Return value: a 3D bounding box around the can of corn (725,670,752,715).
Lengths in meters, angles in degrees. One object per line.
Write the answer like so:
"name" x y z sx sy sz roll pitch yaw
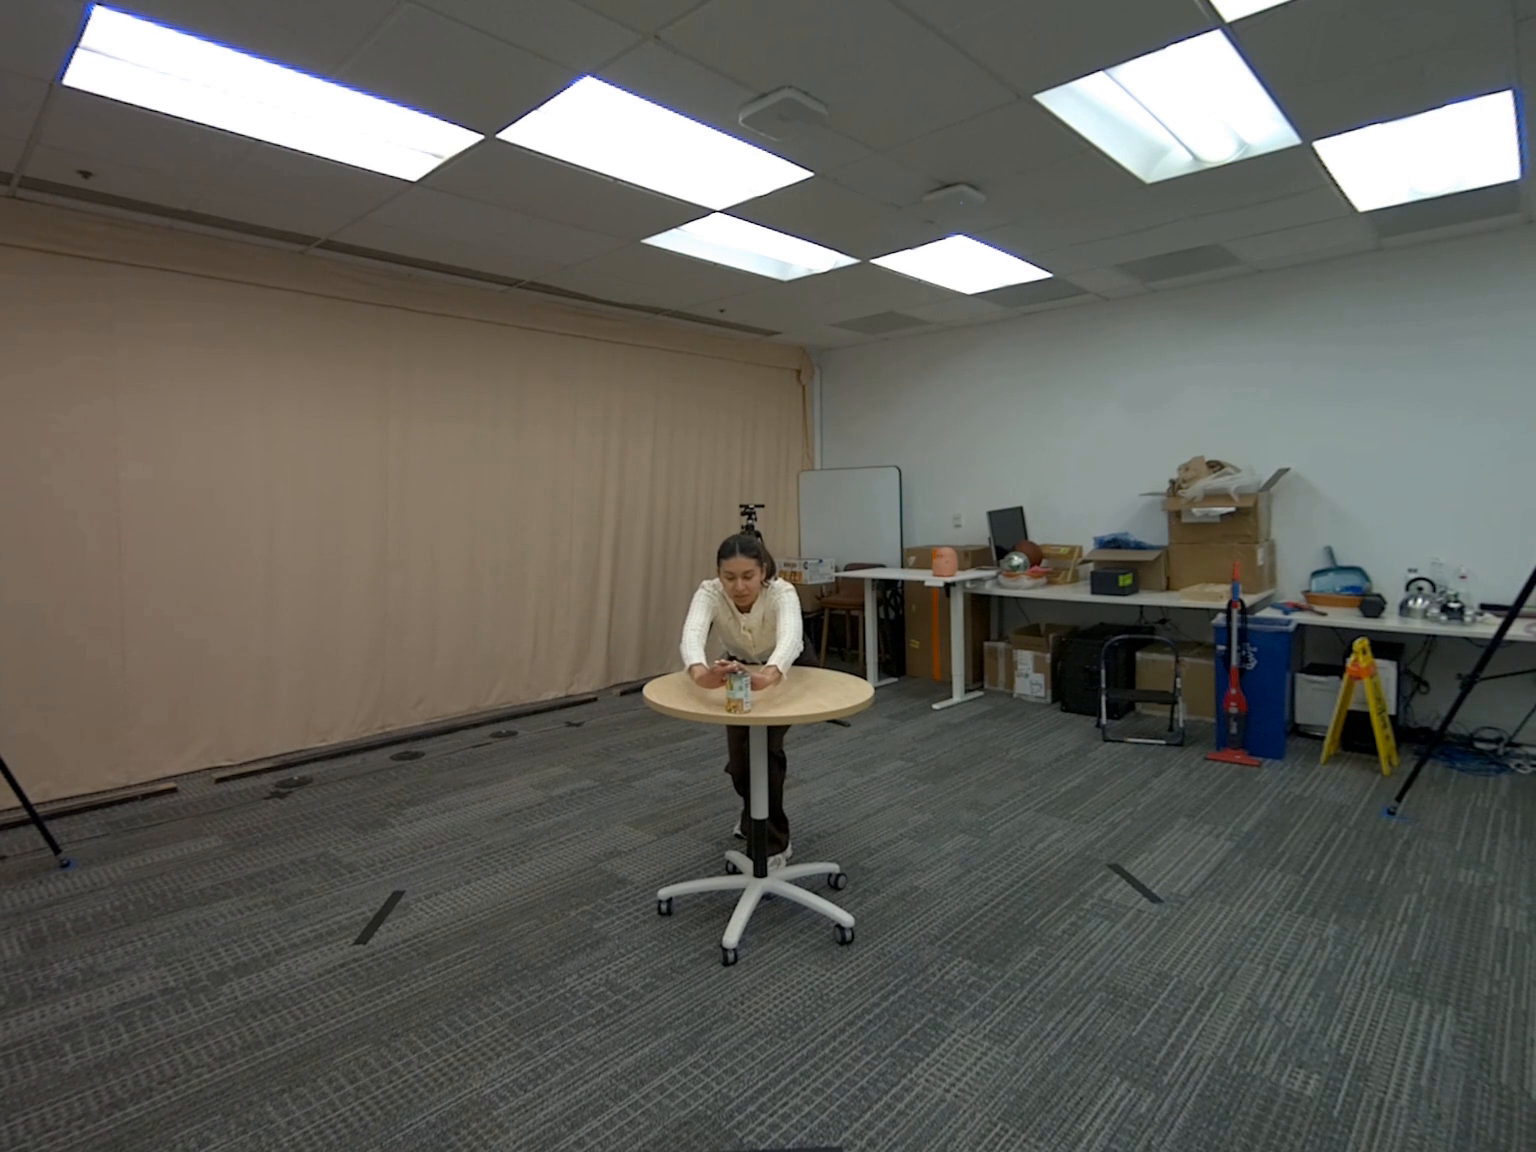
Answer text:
"can of corn" -0.086 0.345 2.490 0.074 0.111 0.074 -4 3 -2
